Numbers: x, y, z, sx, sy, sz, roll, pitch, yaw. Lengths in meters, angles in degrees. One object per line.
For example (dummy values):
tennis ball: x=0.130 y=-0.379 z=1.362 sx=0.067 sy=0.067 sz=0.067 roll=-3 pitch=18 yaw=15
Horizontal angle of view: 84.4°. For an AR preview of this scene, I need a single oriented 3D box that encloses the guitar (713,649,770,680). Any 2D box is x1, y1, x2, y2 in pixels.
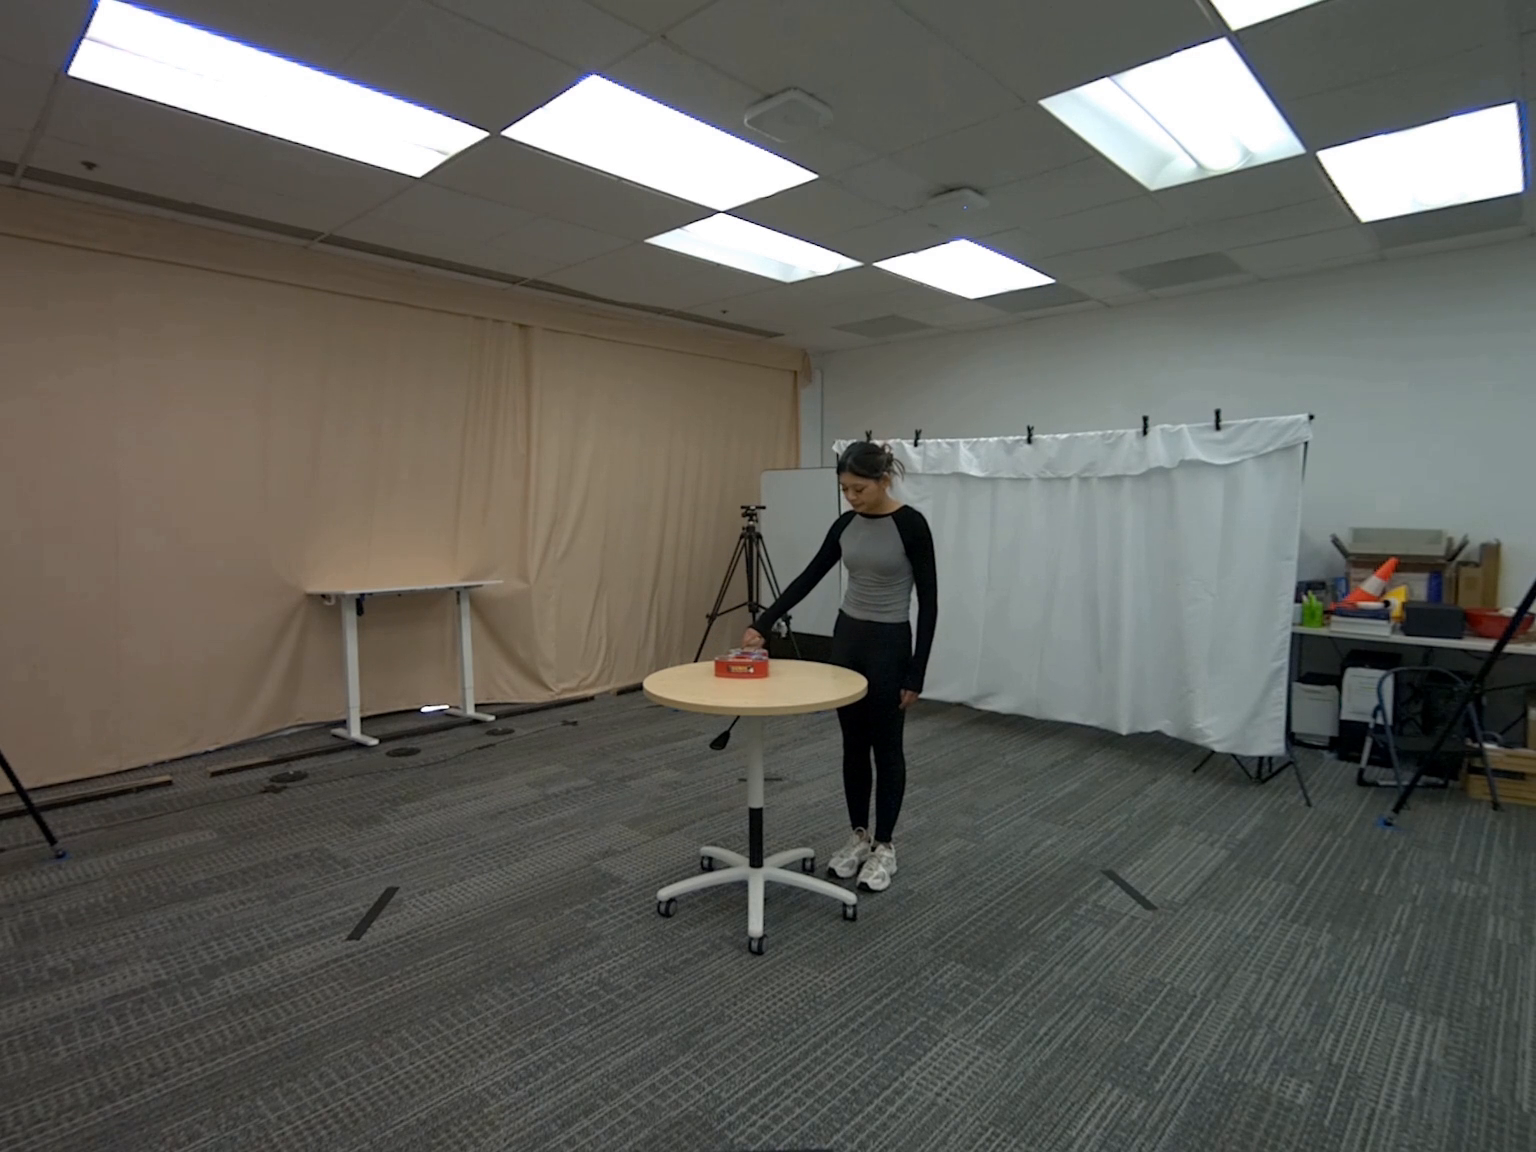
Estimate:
guitar: x=-0.039 y=0.304 z=3.156 sx=0.196 sy=0.070 sz=0.491 roll=0 pitch=6 yaw=15
